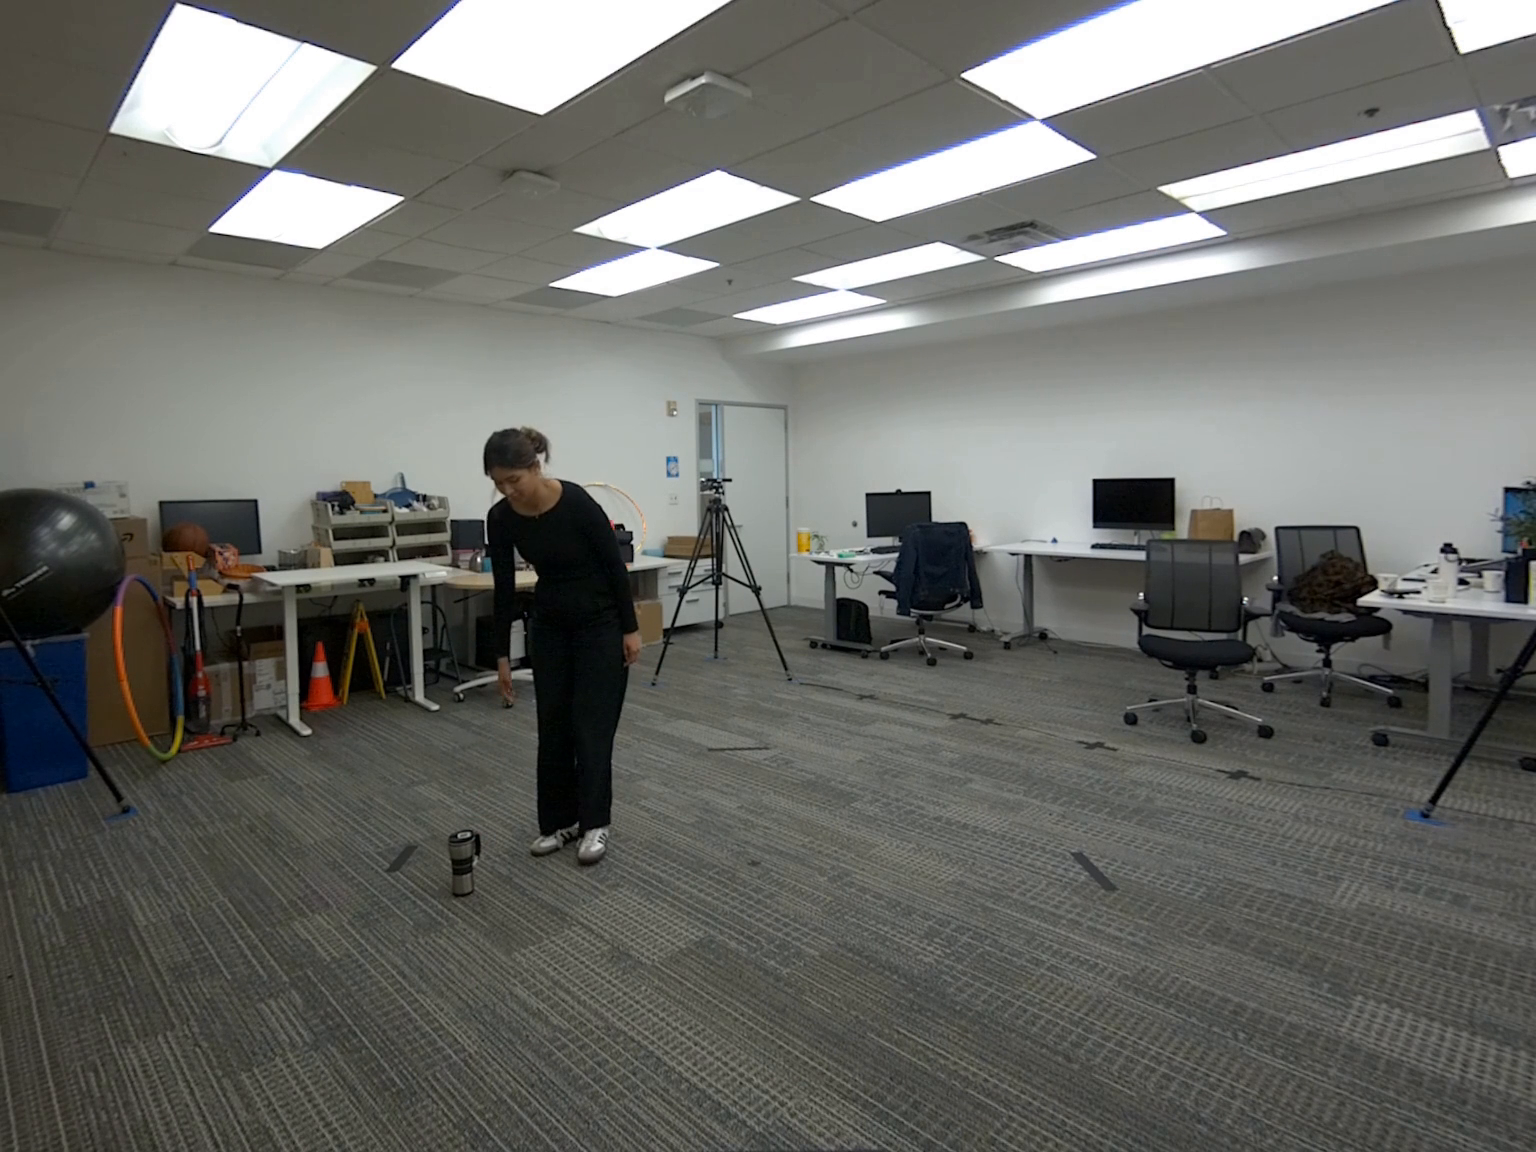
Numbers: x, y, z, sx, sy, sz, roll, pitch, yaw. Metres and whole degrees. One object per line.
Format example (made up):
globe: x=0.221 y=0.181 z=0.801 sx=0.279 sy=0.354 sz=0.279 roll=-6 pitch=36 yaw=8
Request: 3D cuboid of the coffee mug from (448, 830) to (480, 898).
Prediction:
coffee mug: x=-1.037 y=0.989 z=2.940 sx=0.119 sy=0.202 sz=0.090 roll=-9 pitch=3 yaw=-37
